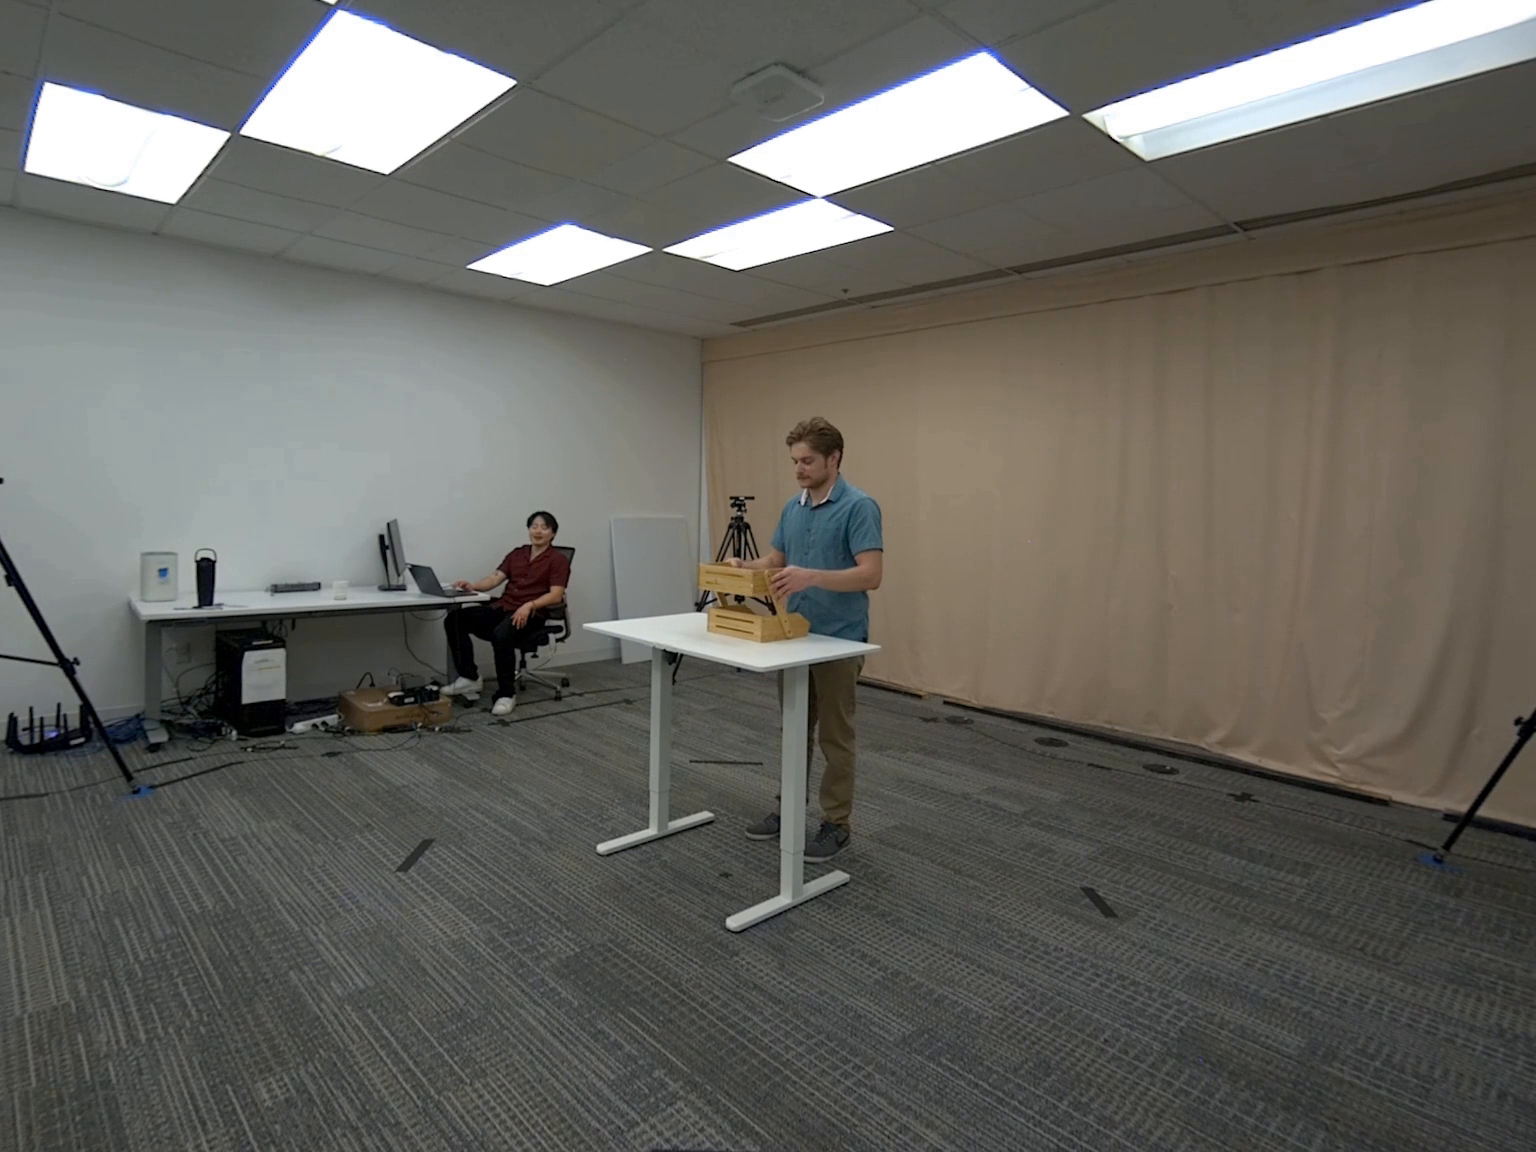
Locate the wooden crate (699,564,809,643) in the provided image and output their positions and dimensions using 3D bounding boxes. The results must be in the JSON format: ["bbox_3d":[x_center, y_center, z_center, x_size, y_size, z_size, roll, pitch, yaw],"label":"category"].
[{"bbox_3d":[-0.059,0.088,3.144,0.295,0.272,0.333,-4,7,-43],"label":"wooden crate"}]
